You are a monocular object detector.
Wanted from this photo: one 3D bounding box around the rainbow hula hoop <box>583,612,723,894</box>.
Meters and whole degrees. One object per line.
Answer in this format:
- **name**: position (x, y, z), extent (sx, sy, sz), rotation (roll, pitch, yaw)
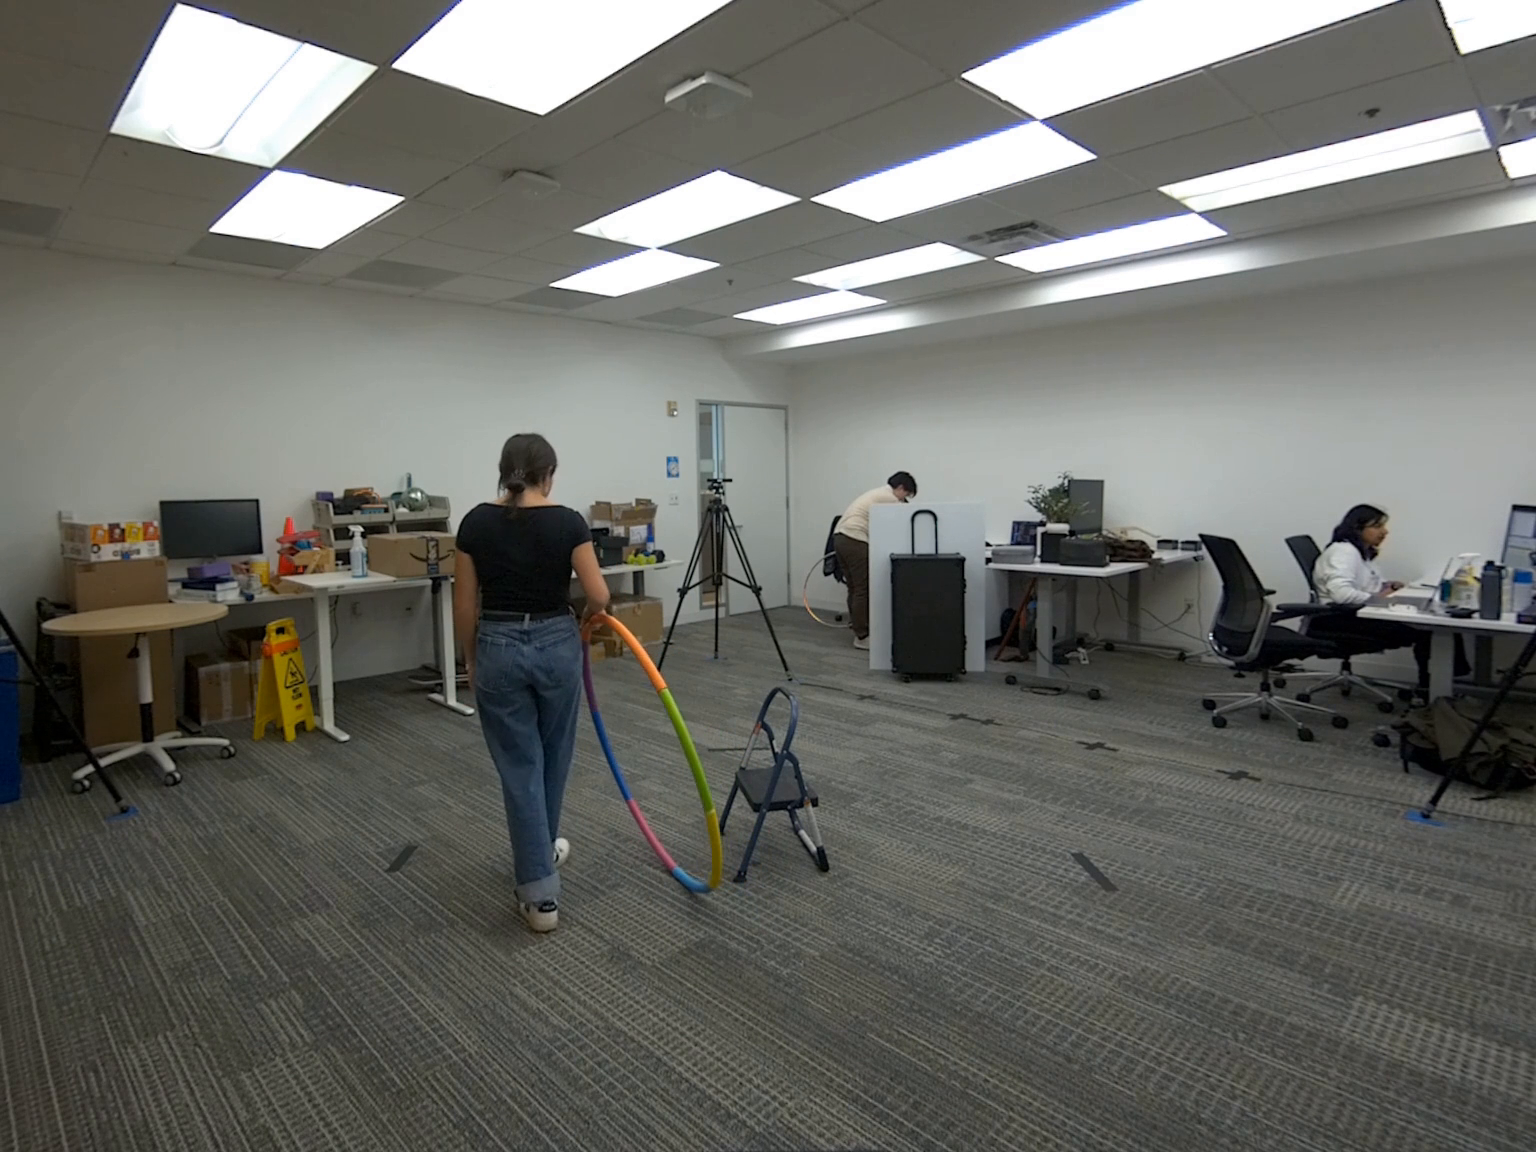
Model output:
- **rainbow hula hoop**: position (-0.416, 0.598, 2.910), extent (0.035, 0.967, 1.005), rotation (-19, 13, -27)
